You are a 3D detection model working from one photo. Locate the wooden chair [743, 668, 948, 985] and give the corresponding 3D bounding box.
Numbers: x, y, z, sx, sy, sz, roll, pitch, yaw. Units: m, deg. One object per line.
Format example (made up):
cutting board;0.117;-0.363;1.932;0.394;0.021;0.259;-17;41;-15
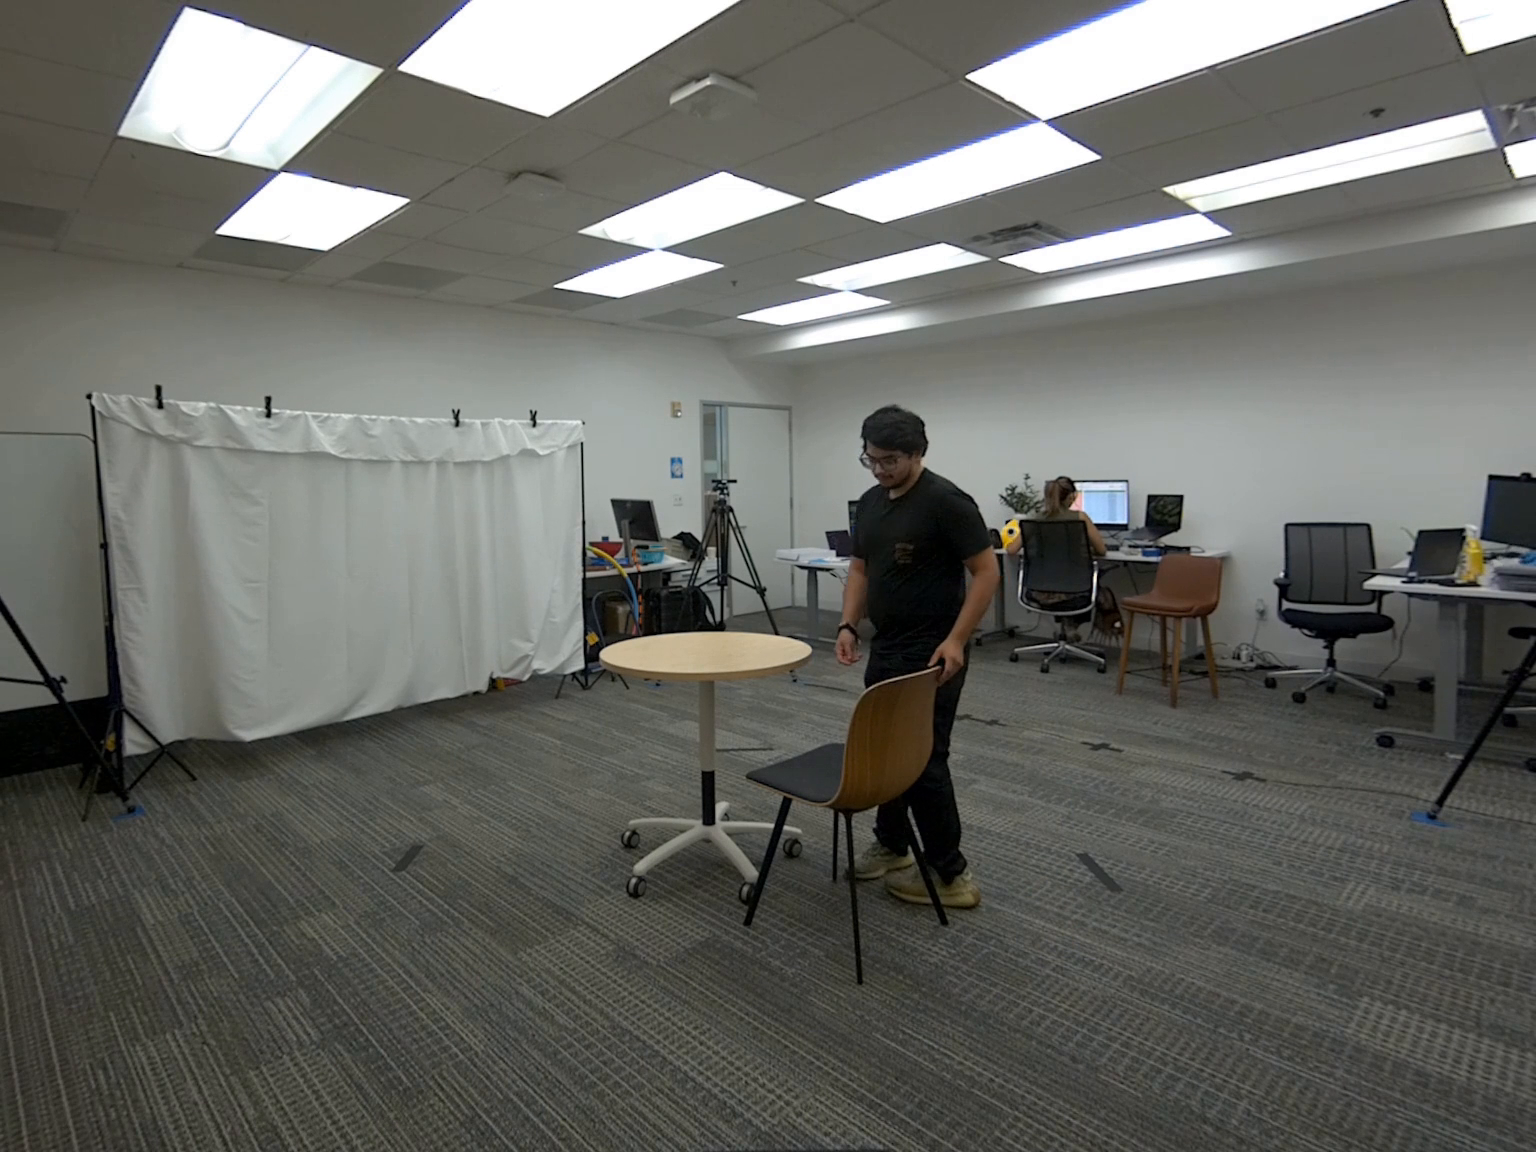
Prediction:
wooden chair;0.228;0.663;2.644;0.540;0.872;0.465;9;10;44
